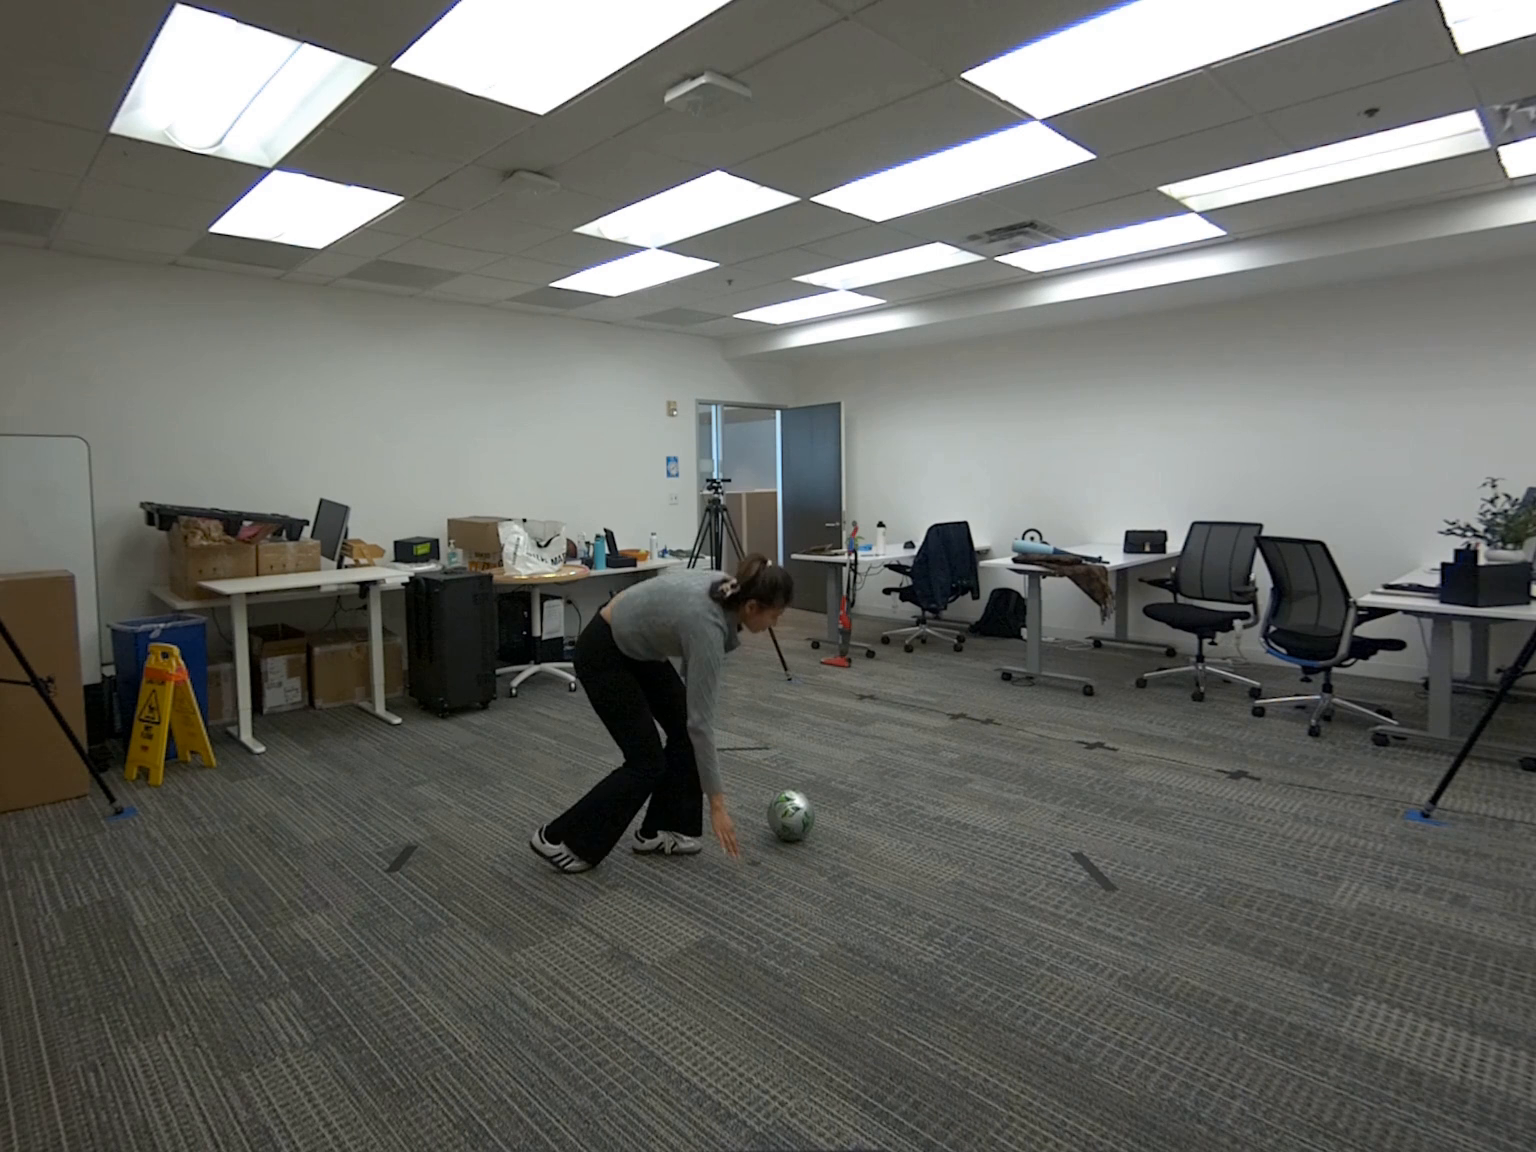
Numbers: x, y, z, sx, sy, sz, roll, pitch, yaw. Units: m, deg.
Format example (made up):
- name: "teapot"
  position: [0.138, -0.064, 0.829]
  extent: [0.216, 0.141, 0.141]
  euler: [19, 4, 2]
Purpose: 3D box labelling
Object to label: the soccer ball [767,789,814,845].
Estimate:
- name: "soccer ball"
  position: [0.088, 0.923, 3.310]
  extent: [0.187, 0.187, 0.188]
  euler: [-1, 5, -2]
